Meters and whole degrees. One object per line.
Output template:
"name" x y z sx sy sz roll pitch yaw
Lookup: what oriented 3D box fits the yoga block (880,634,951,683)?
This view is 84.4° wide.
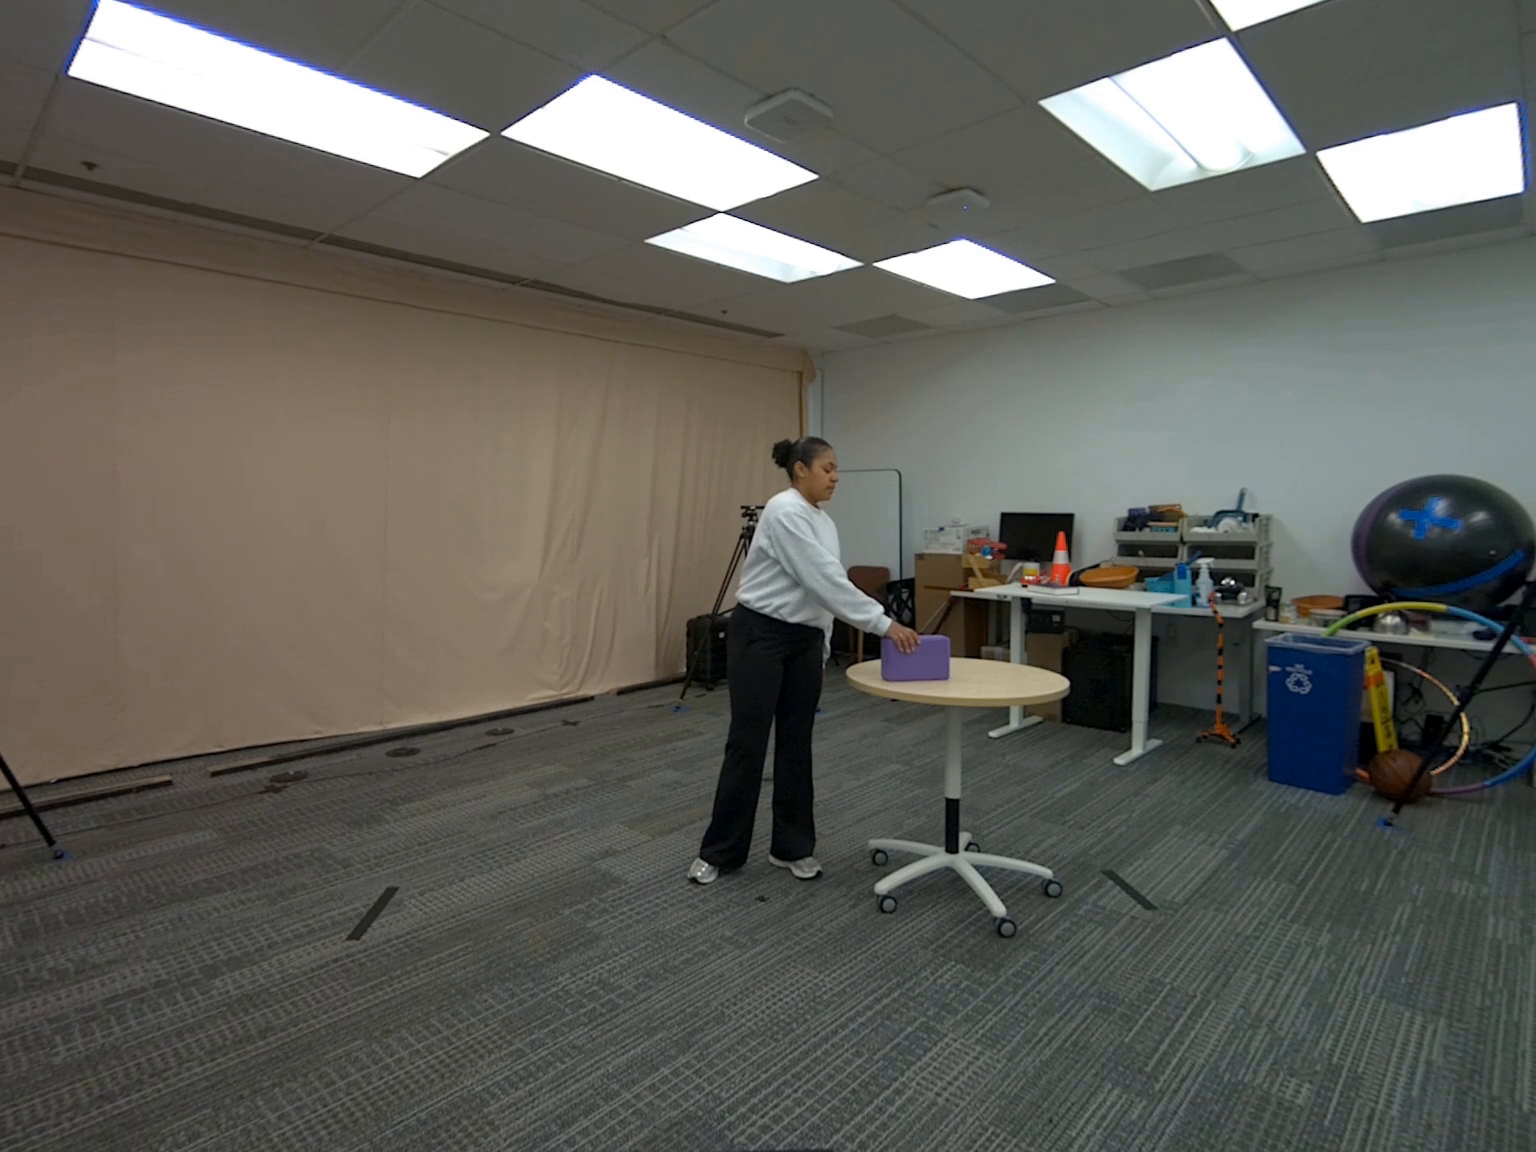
"yoga block" 0.520 0.281 2.939 0.228 0.148 0.077 -4 4 -6
